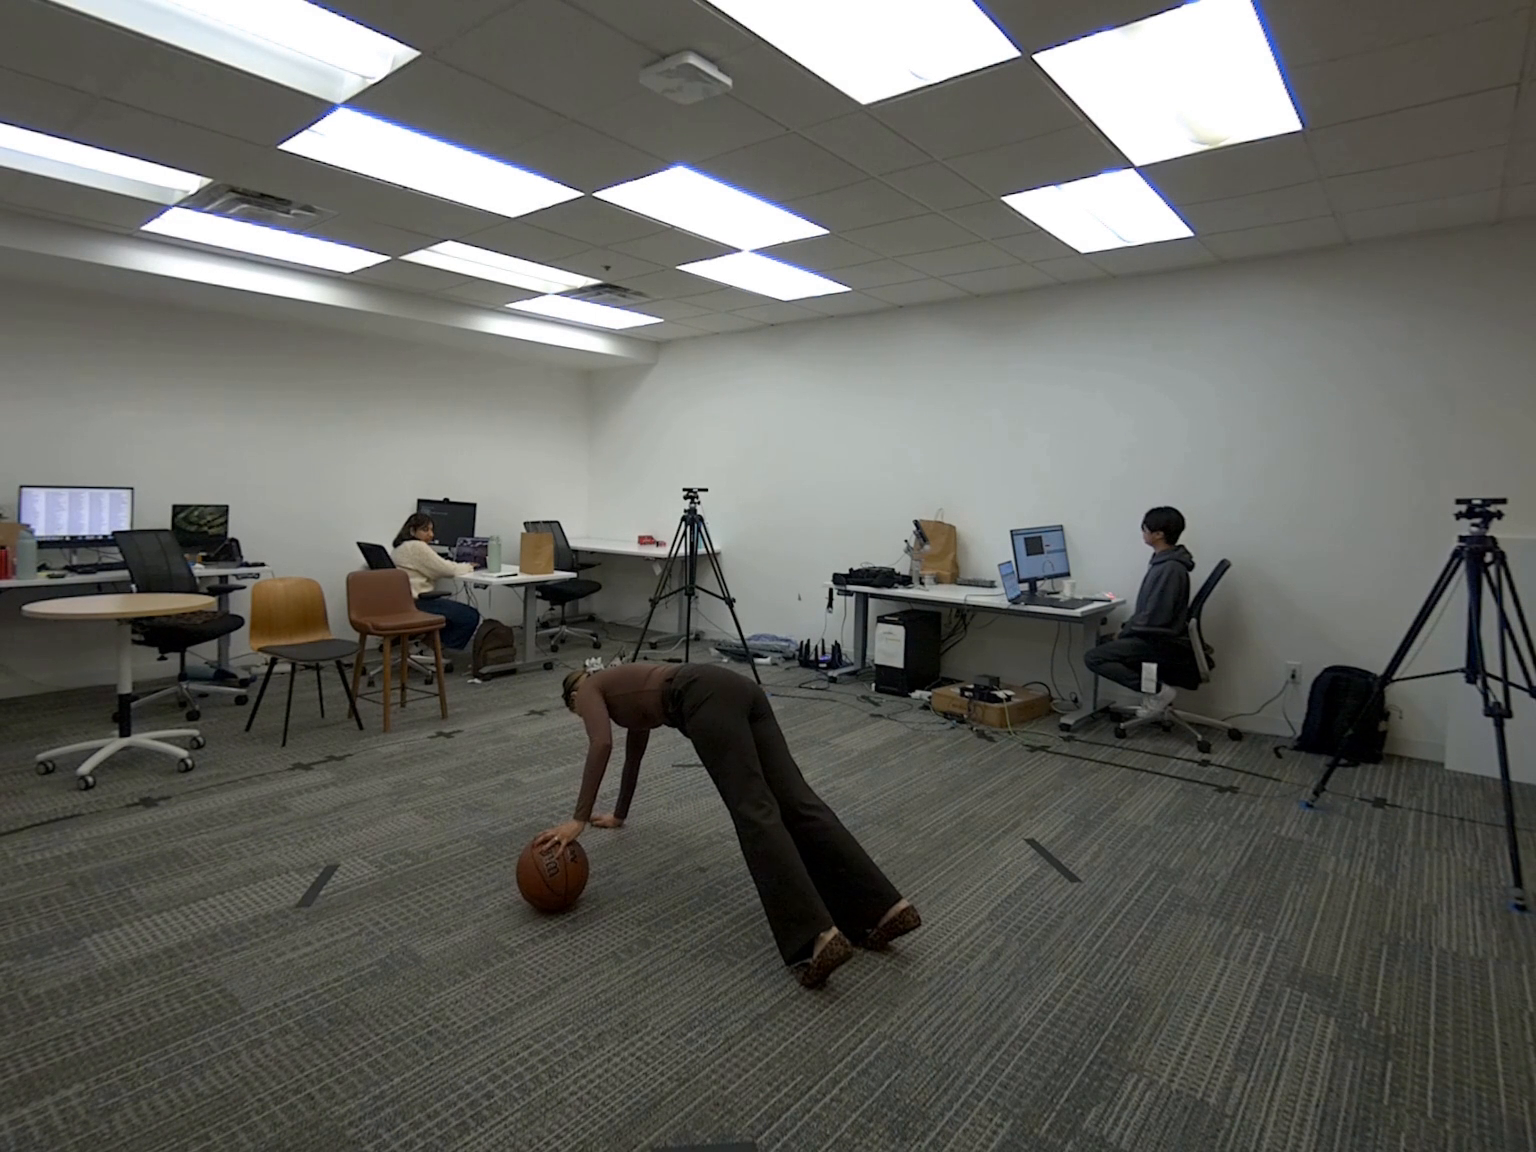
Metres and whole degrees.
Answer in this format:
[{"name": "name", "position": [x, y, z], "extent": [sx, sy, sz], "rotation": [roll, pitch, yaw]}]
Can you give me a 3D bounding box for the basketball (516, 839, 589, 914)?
[{"name": "basketball", "position": [-0.719, 0.976, 2.816], "extent": [0.236, 0.235, 0.237], "rotation": [1, 4, -2]}]
